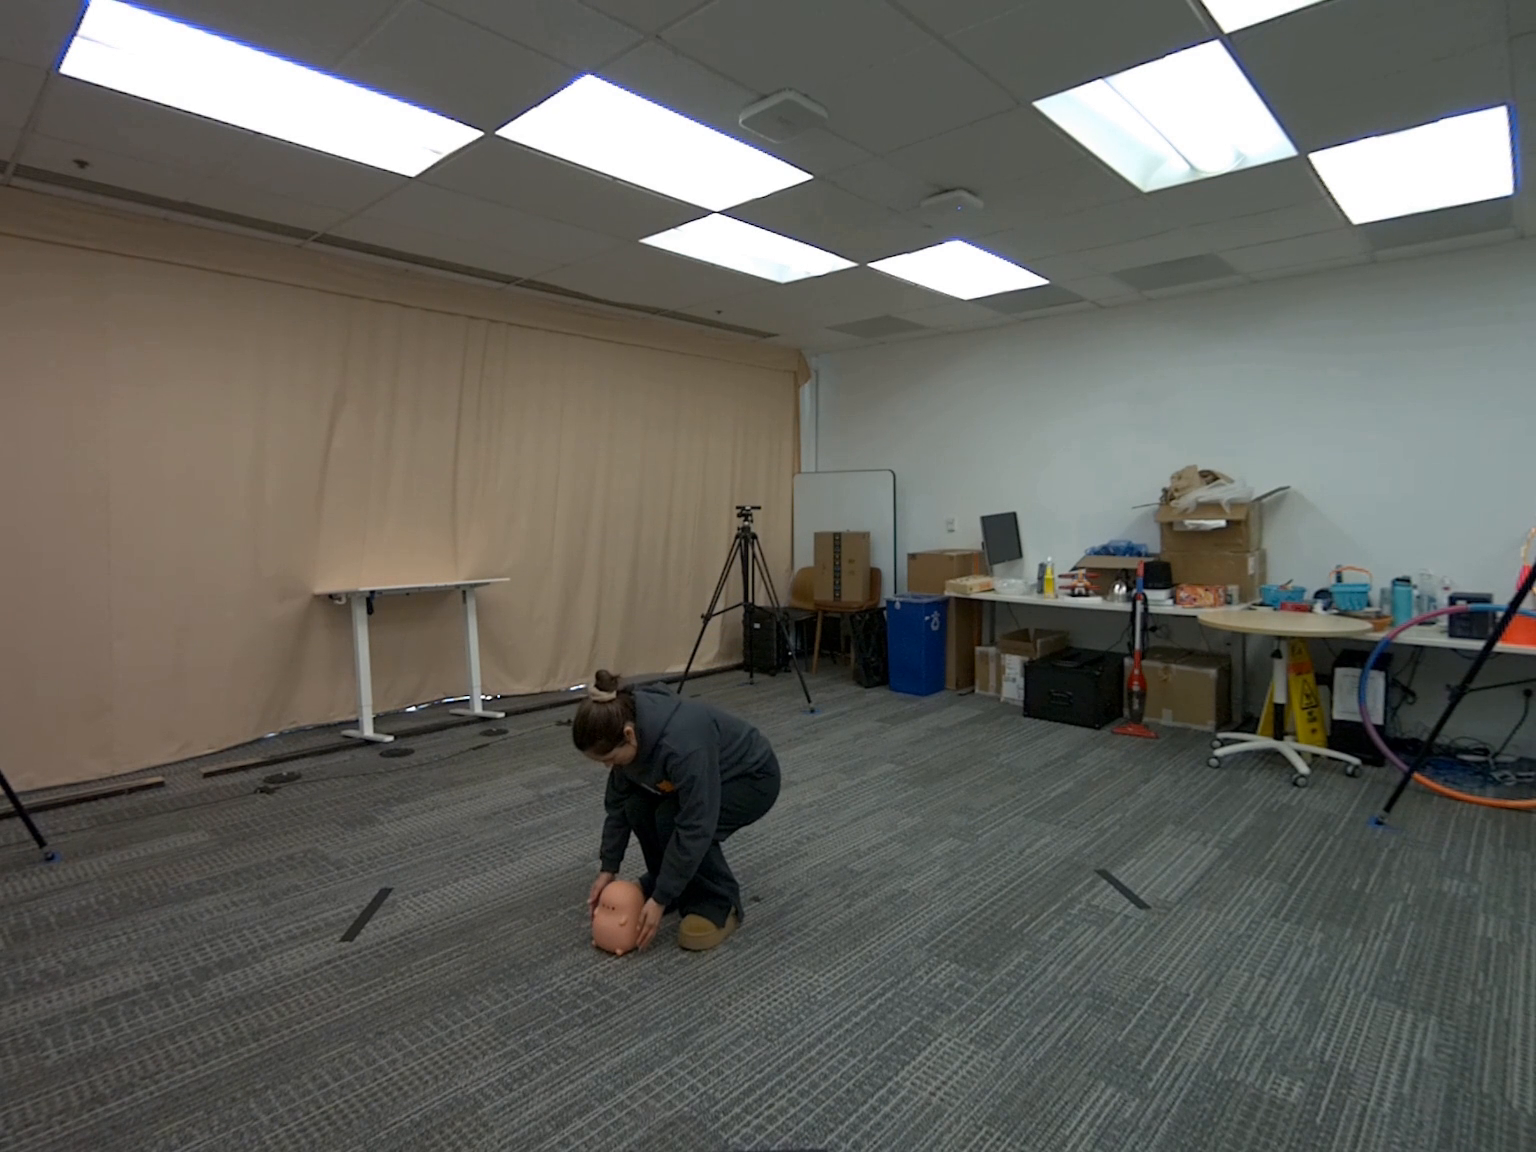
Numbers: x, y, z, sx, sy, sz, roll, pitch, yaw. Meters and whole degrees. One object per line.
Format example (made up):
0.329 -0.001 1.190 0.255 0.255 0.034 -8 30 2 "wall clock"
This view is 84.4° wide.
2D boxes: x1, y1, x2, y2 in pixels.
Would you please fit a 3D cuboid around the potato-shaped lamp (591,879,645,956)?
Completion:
-0.455 1.071 2.692 0.170 0.198 0.166 -1 0 36 "potato-shaped lamp"
